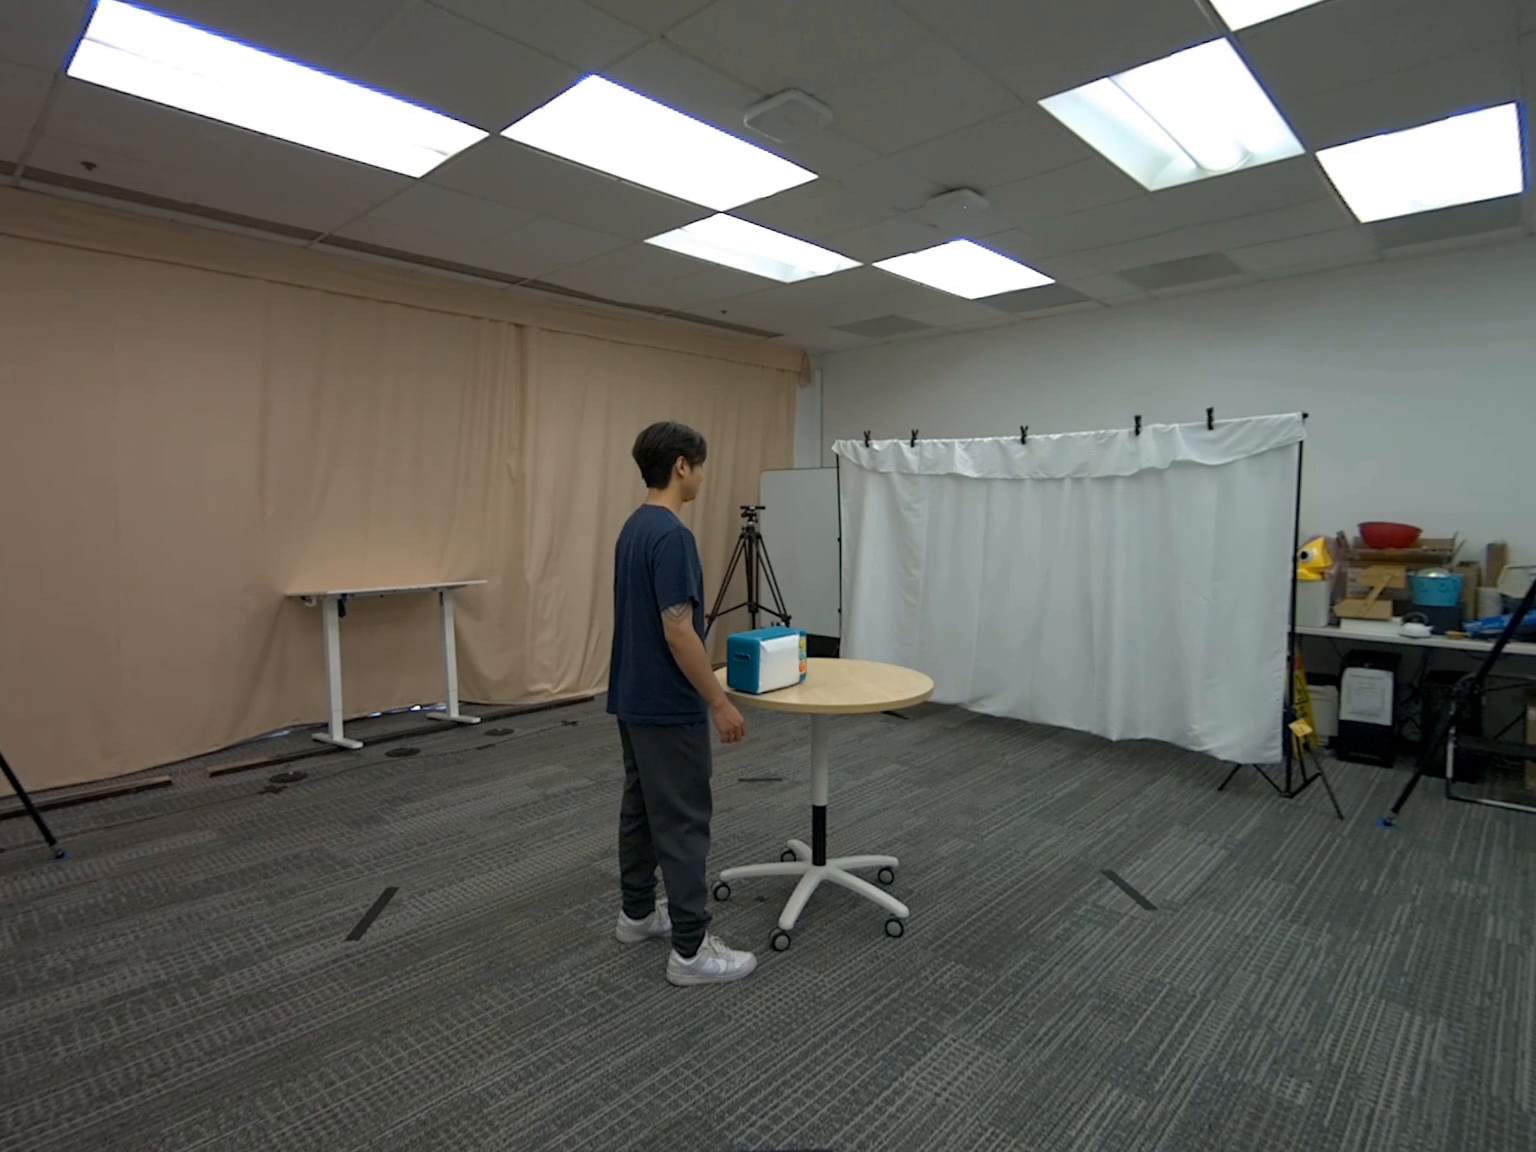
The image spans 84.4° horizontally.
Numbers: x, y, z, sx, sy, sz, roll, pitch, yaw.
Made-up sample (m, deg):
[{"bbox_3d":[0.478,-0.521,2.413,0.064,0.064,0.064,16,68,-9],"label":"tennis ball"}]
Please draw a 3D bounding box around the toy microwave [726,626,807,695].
[{"bbox_3d":[0.010,0.276,2.765,0.157,0.184,0.277,3,5,40],"label":"toy microwave"}]
